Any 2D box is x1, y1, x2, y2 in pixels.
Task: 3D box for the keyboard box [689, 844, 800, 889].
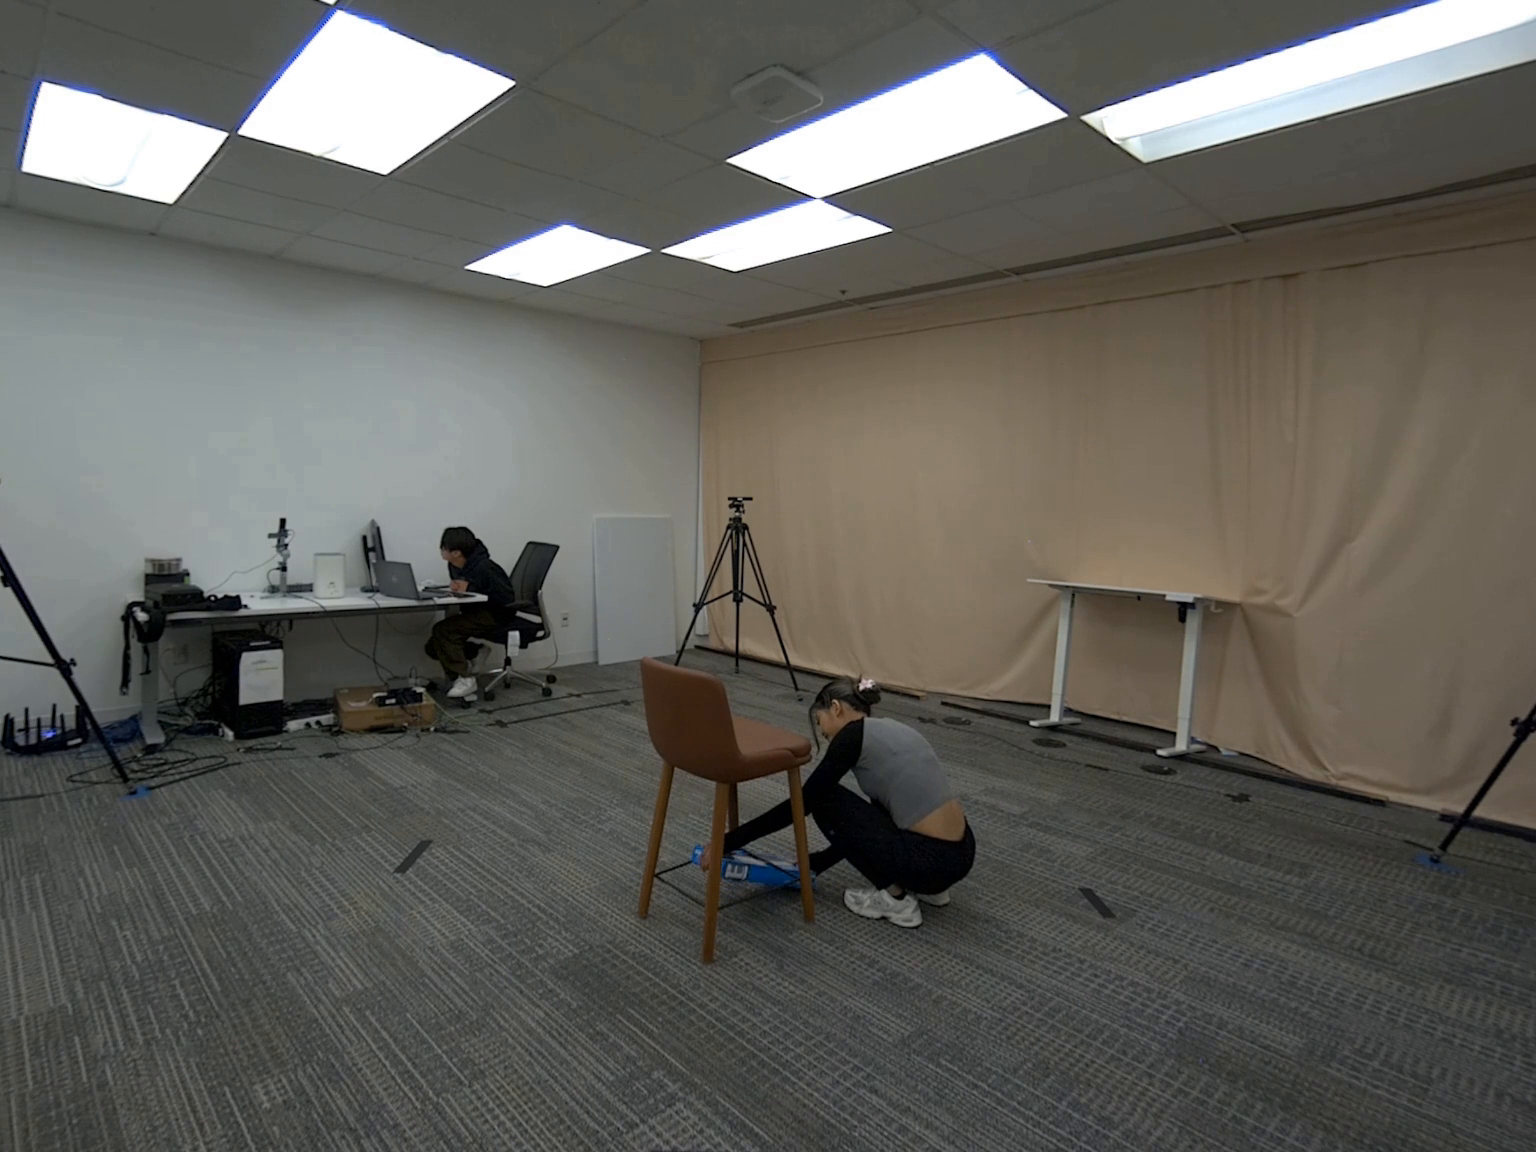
[{"bbox_3d":[-0.036,1.013,2.917,0.424,0.059,0.180,20,-10,-36],"label":"keyboard box"}]
